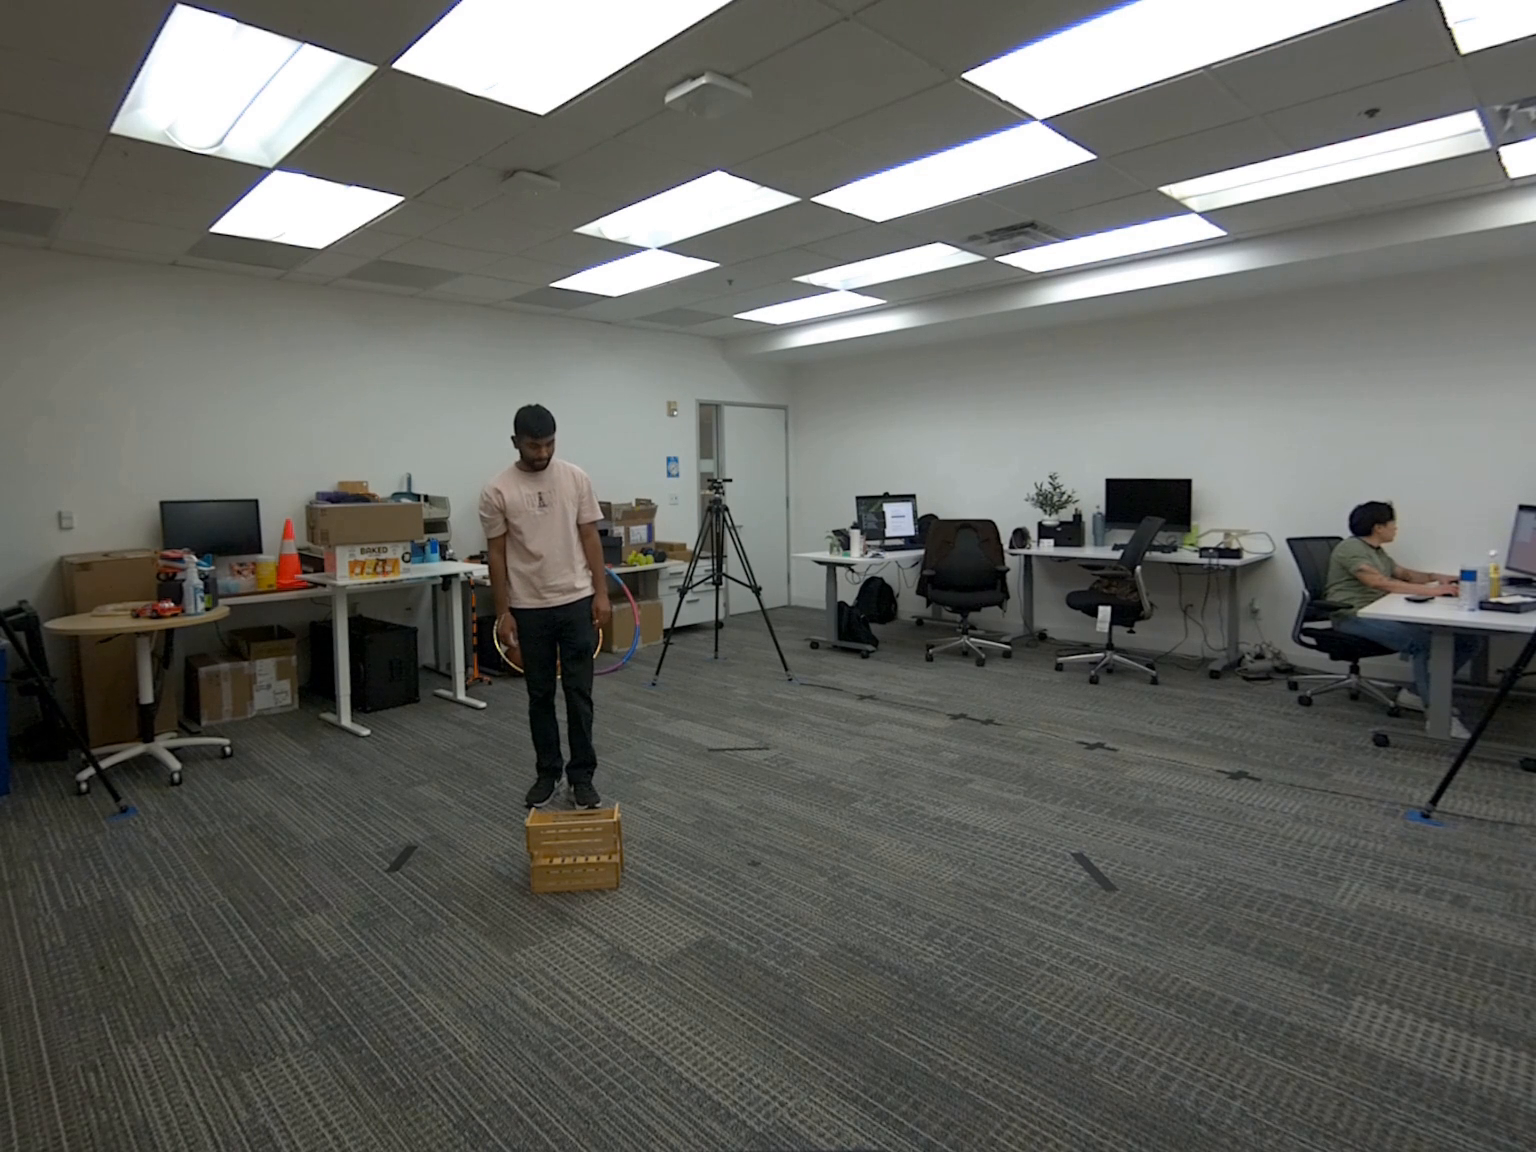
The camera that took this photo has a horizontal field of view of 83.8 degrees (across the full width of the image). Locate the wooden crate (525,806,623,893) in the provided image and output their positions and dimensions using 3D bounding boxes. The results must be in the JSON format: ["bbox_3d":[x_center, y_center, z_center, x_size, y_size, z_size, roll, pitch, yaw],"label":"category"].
[{"bbox_3d":[-0.678,0.932,3.016,0.322,0.272,0.305,-2,6,-7],"label":"wooden crate"}]
